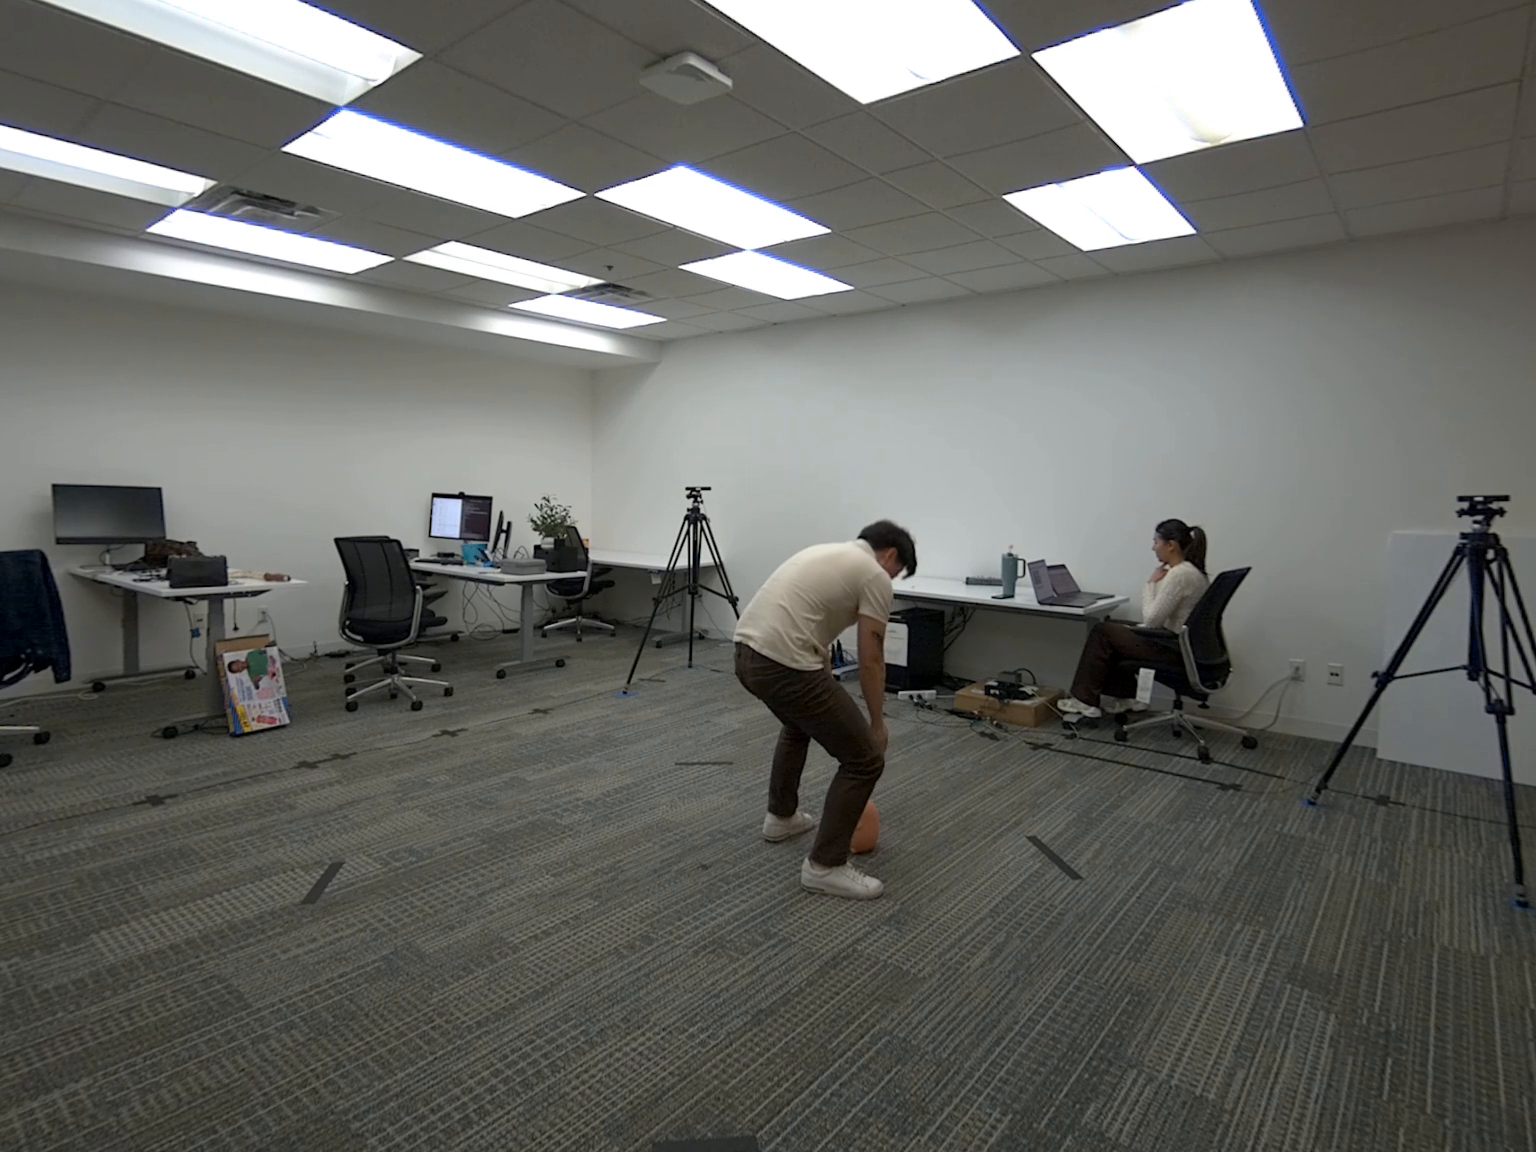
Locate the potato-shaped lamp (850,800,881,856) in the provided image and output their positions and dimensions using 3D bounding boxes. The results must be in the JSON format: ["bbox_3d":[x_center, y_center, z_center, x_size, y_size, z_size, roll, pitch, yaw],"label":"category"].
[{"bbox_3d":[0.343,0.952,3.322,0.167,0.197,0.170,5,4,-28],"label":"potato-shaped lamp"}]
